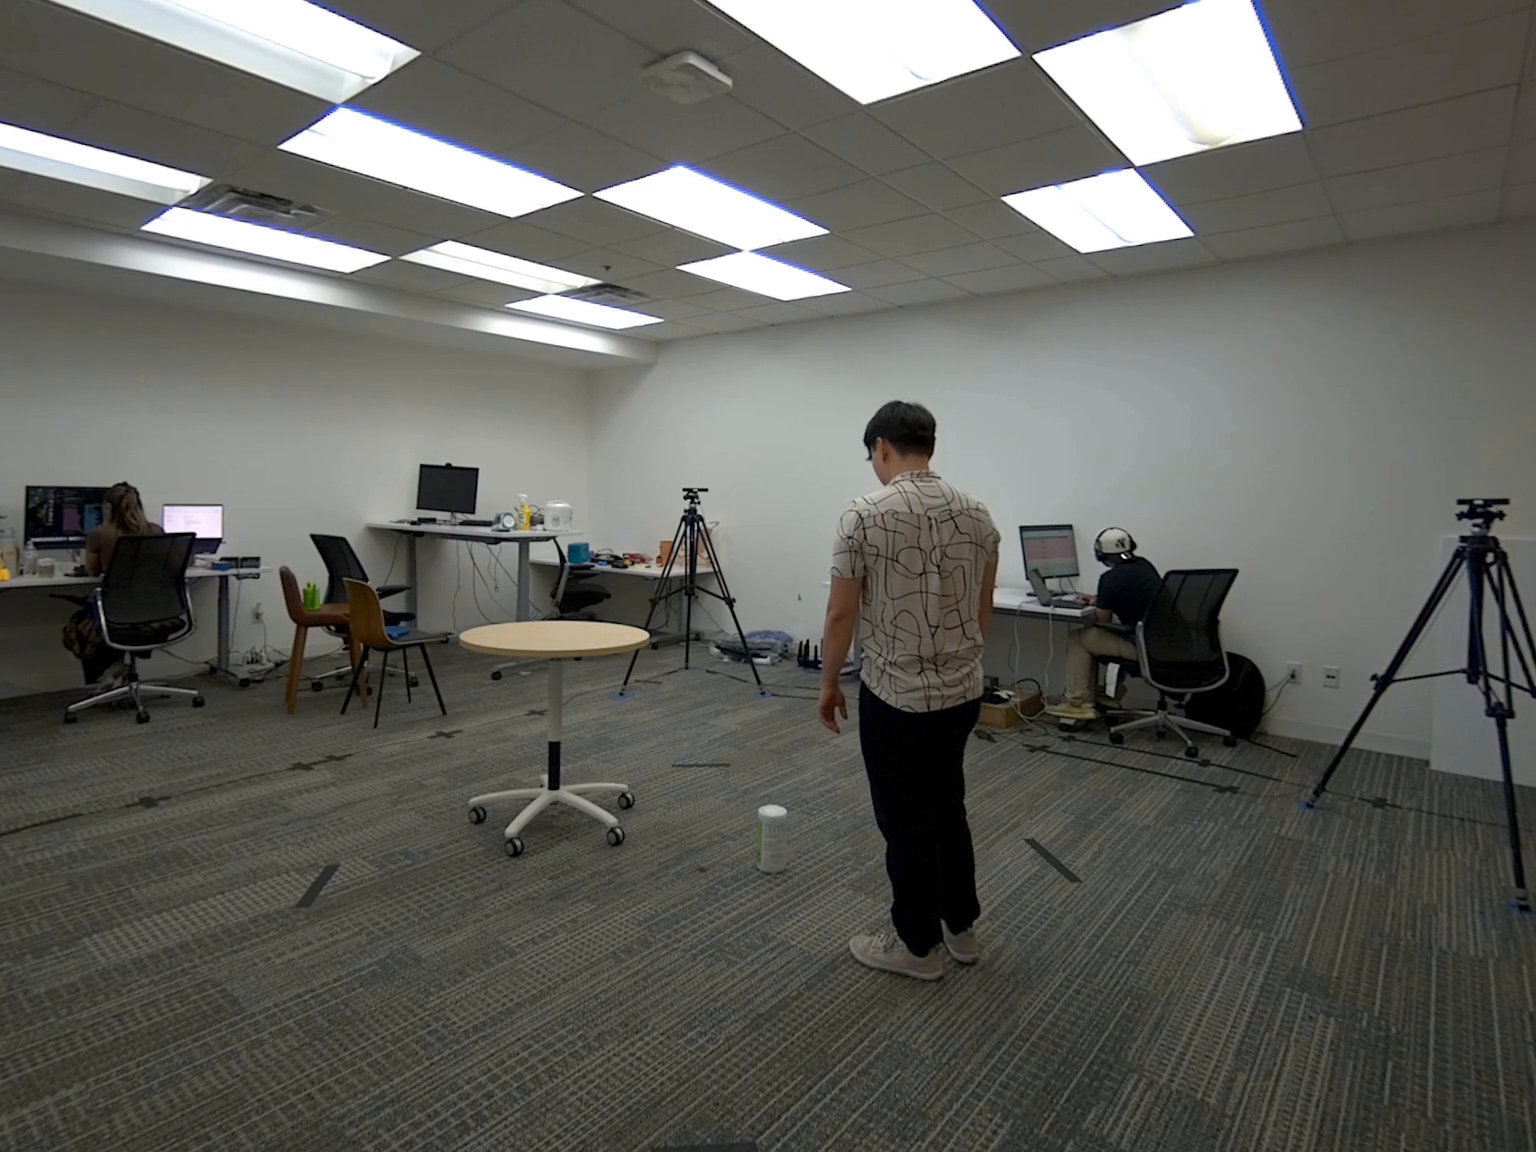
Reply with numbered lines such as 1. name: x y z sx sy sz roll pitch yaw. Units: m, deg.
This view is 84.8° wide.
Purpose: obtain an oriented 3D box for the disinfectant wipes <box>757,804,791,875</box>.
1. disinfectant wipes: 0.014 0.965 3.133 0.118 0.217 0.118 0 3 -2
